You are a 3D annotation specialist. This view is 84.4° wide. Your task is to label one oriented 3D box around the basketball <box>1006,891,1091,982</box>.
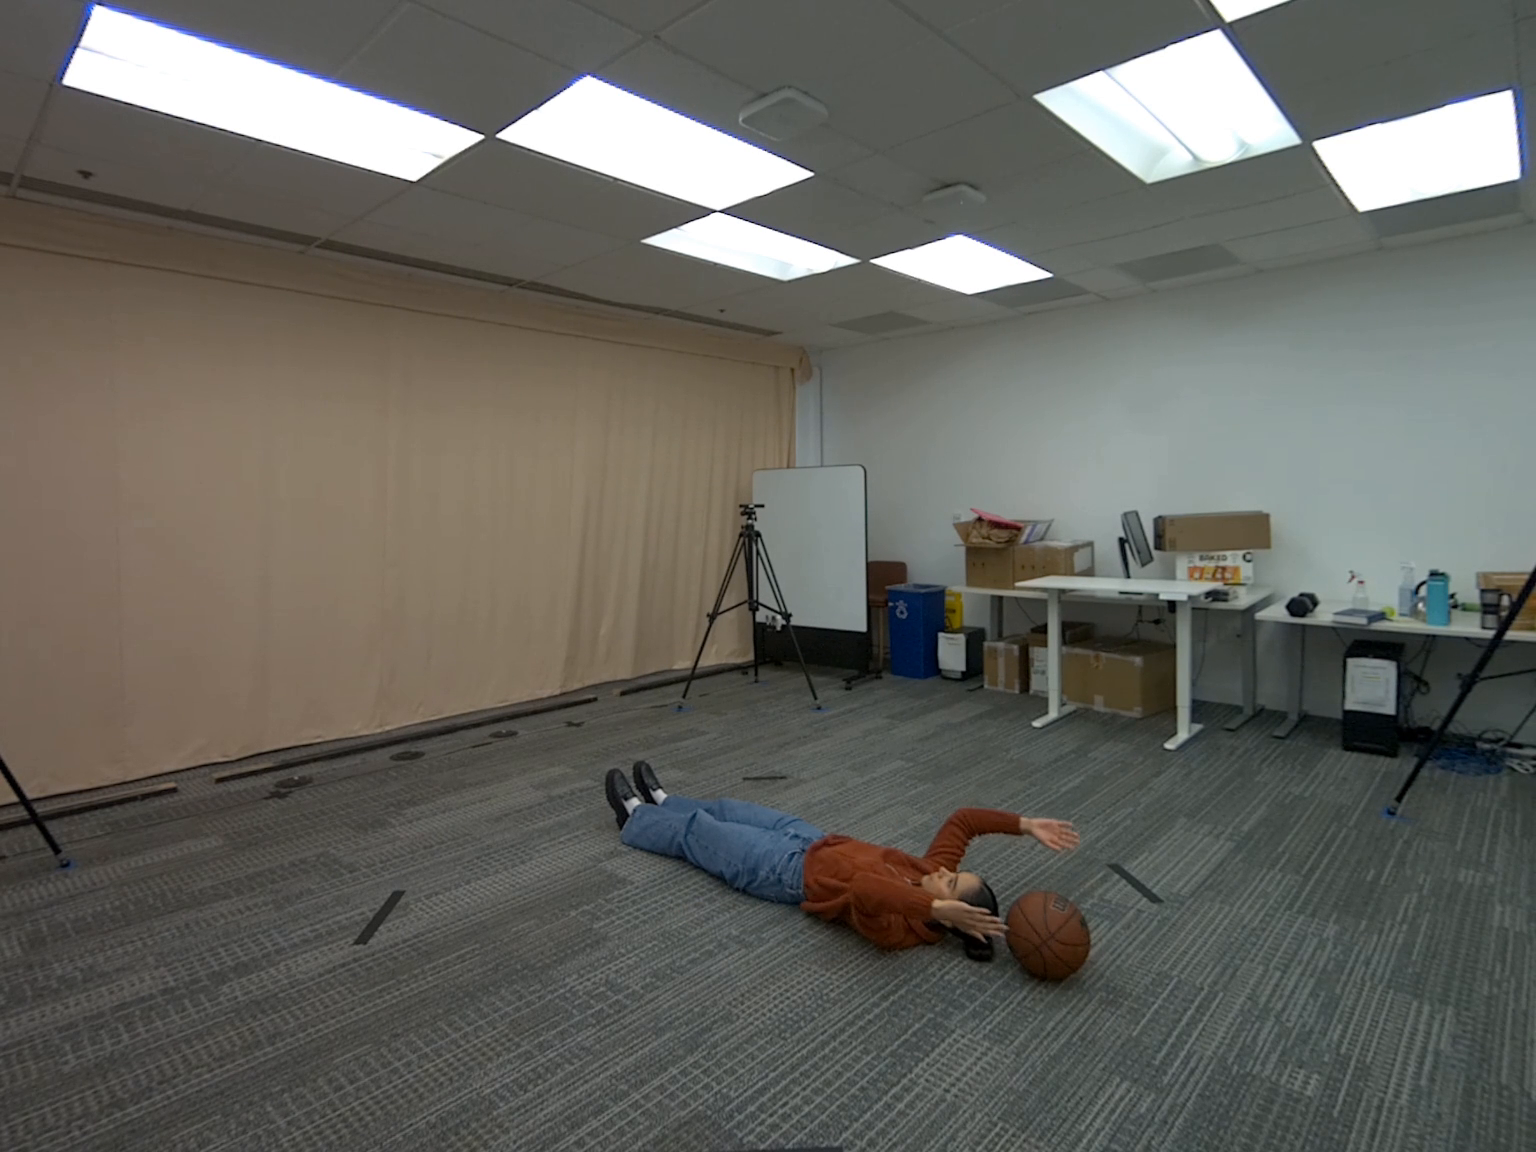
[{"bbox_3d":[0.813,1.047,2.471,0.235,0.235,0.237,2,5,-2],"label":"basketball"}]
